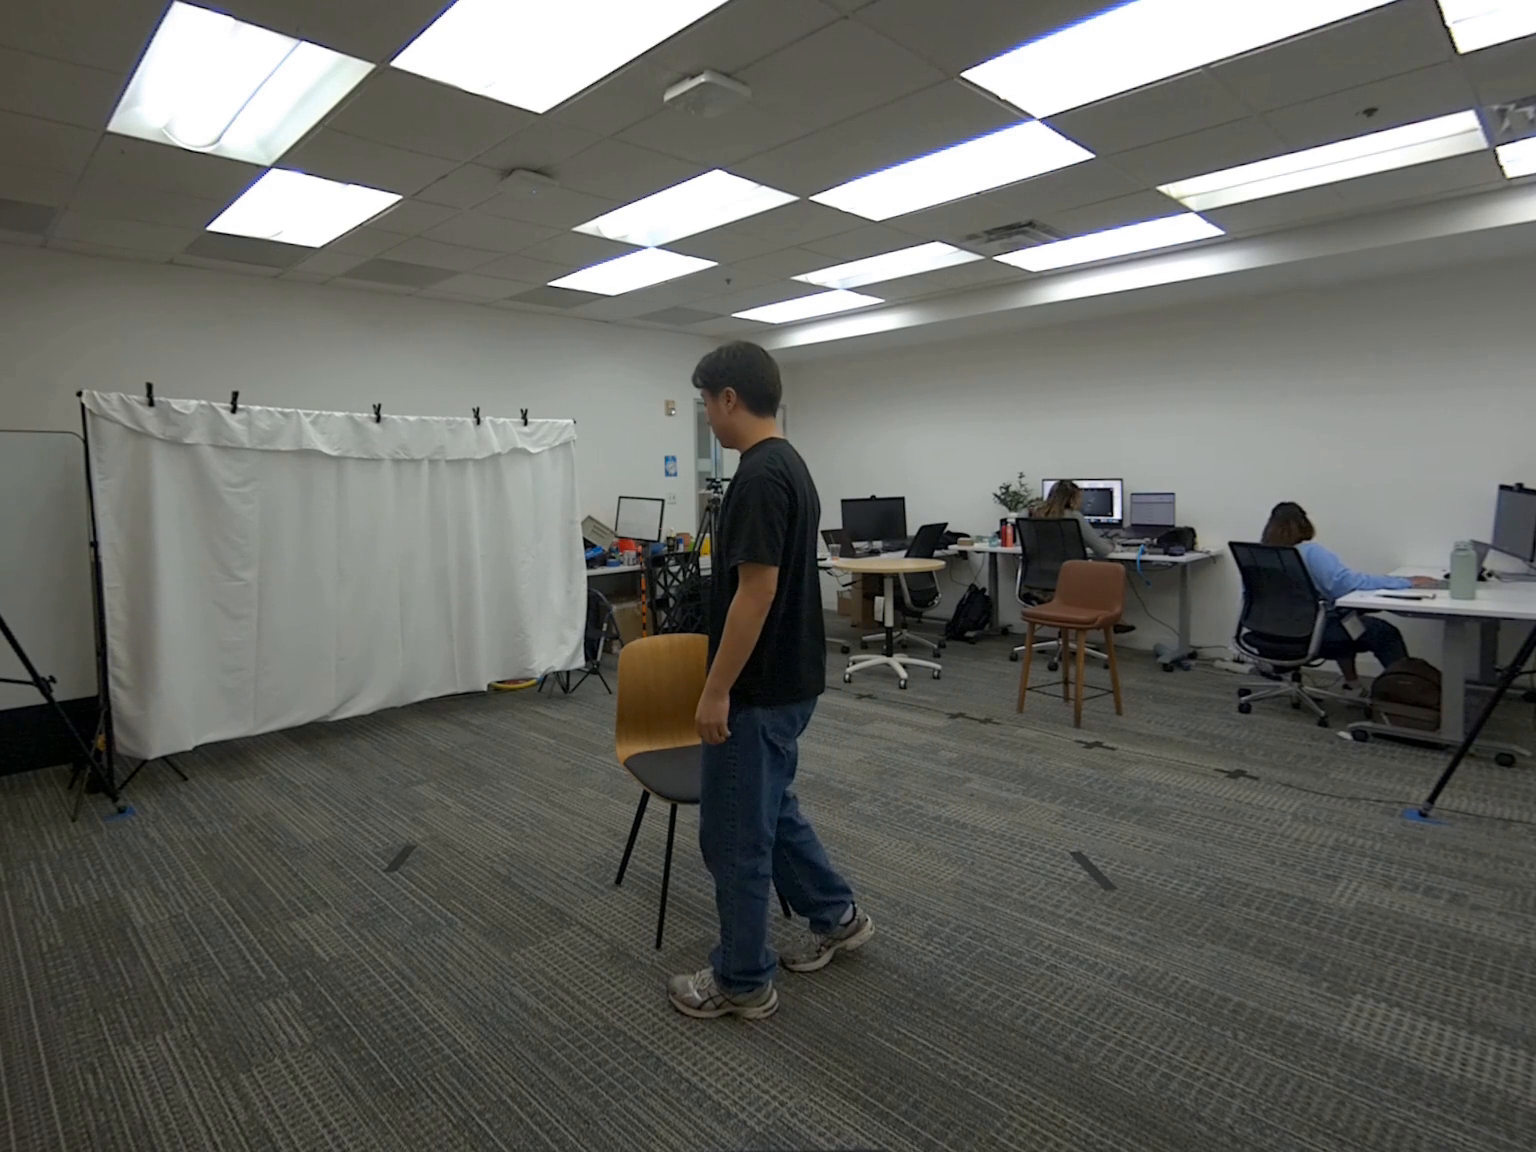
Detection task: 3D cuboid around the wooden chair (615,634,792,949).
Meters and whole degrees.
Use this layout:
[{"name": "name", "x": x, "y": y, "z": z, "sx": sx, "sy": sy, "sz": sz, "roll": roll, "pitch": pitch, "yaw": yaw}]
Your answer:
[{"name": "wooden chair", "x": -0.232, "y": 0.654, "z": 2.802, "sx": 0.468, "sy": 0.877, "sz": 0.534, "roll": -3, "pitch": 1, "yaw": -25}]
